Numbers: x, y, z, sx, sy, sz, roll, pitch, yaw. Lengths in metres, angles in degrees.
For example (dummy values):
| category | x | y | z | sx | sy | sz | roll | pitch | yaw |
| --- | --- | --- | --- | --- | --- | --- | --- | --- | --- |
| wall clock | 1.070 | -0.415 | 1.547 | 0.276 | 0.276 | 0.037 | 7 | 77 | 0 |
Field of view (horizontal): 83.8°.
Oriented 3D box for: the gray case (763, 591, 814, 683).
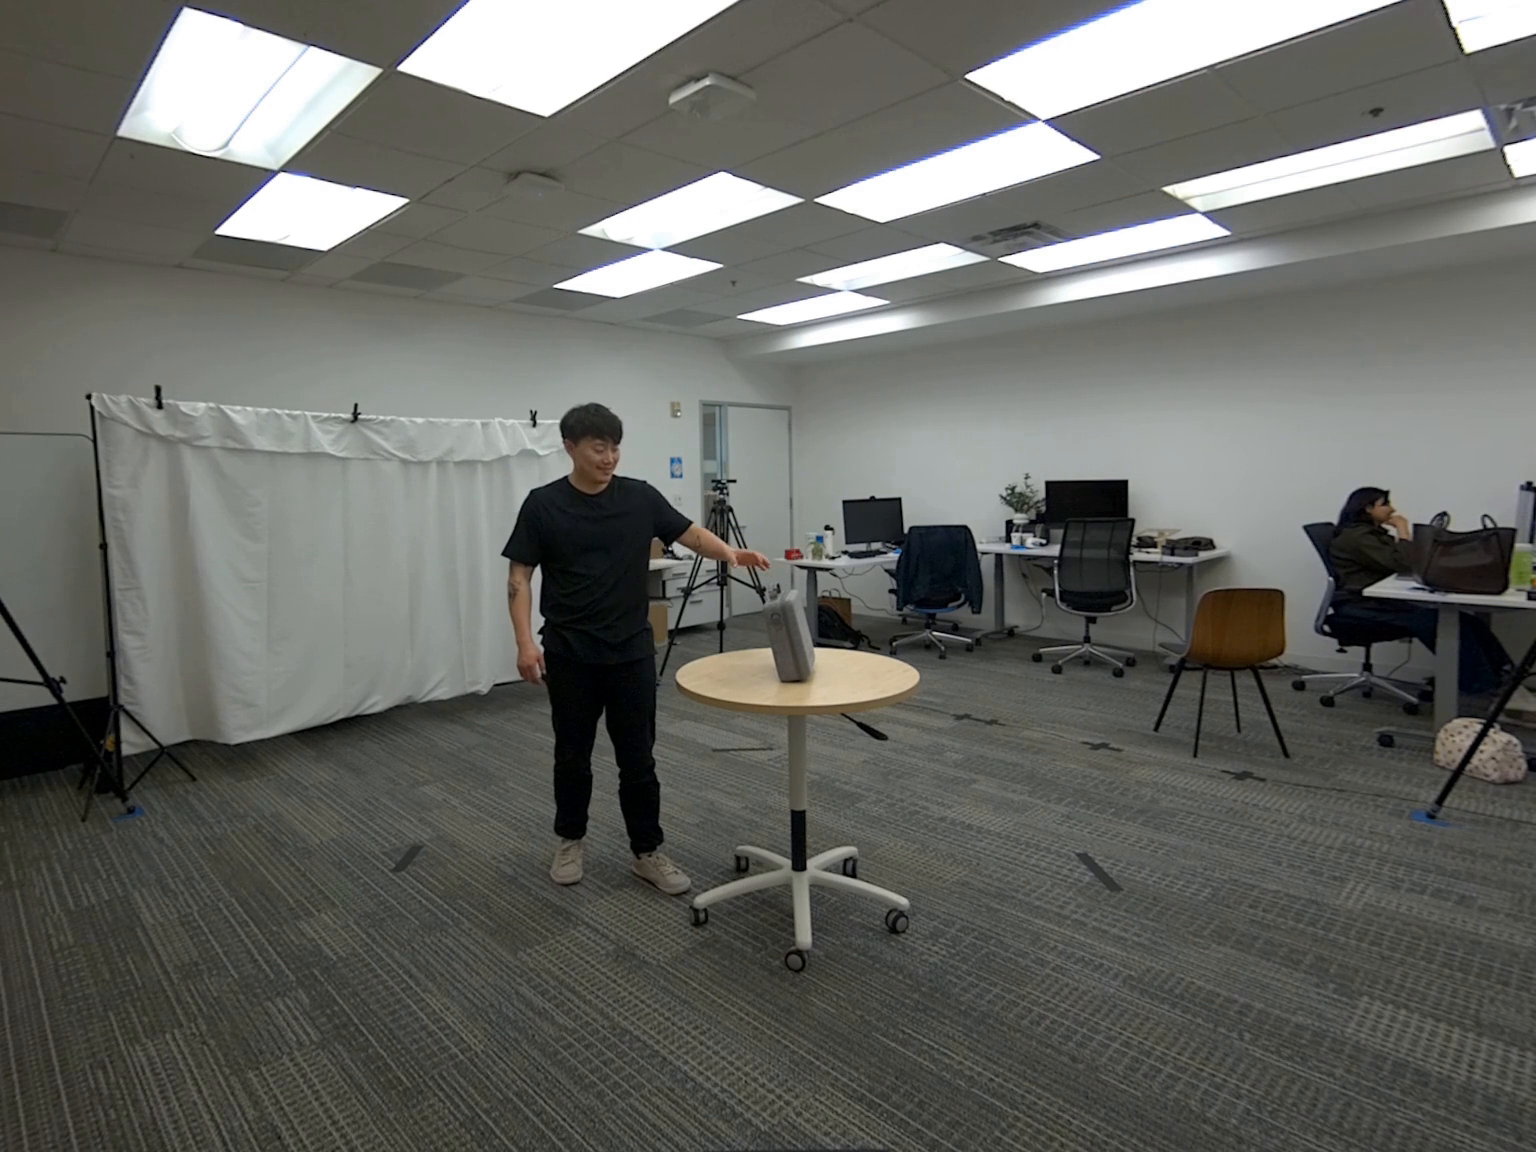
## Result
| category | x | y | z | sx | sy | sz | roll | pitch | yaw |
| --- | --- | --- | --- | --- | --- | --- | --- | --- | --- |
| gray case | 0.067 | 0.176 | 2.685 | 0.104 | 0.260 | 0.256 | -11 | 2 | 3 |
